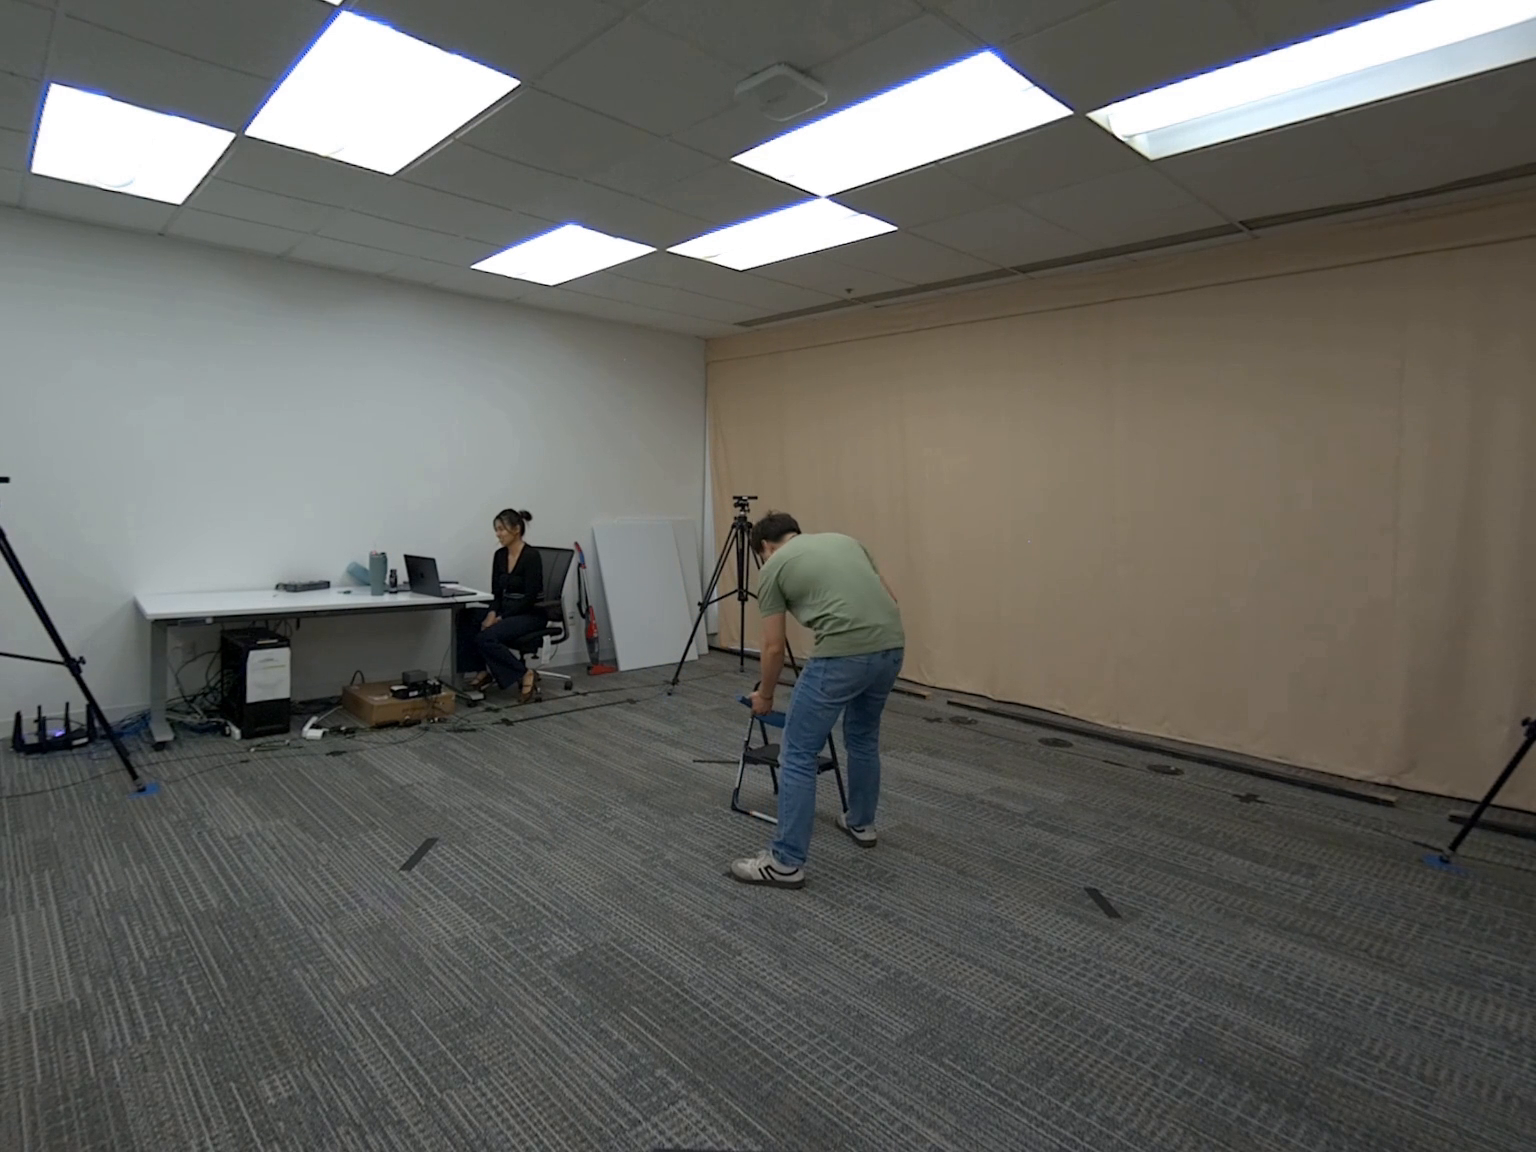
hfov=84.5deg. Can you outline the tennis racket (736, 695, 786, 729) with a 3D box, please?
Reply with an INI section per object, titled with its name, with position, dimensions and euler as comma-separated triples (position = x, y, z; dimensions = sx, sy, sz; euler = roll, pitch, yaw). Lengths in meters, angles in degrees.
[tennis racket]
position = -0.012, 0.581, 3.556
dimensions = 0.217, 0.032, 0.419
euler = -11, -36, 40
